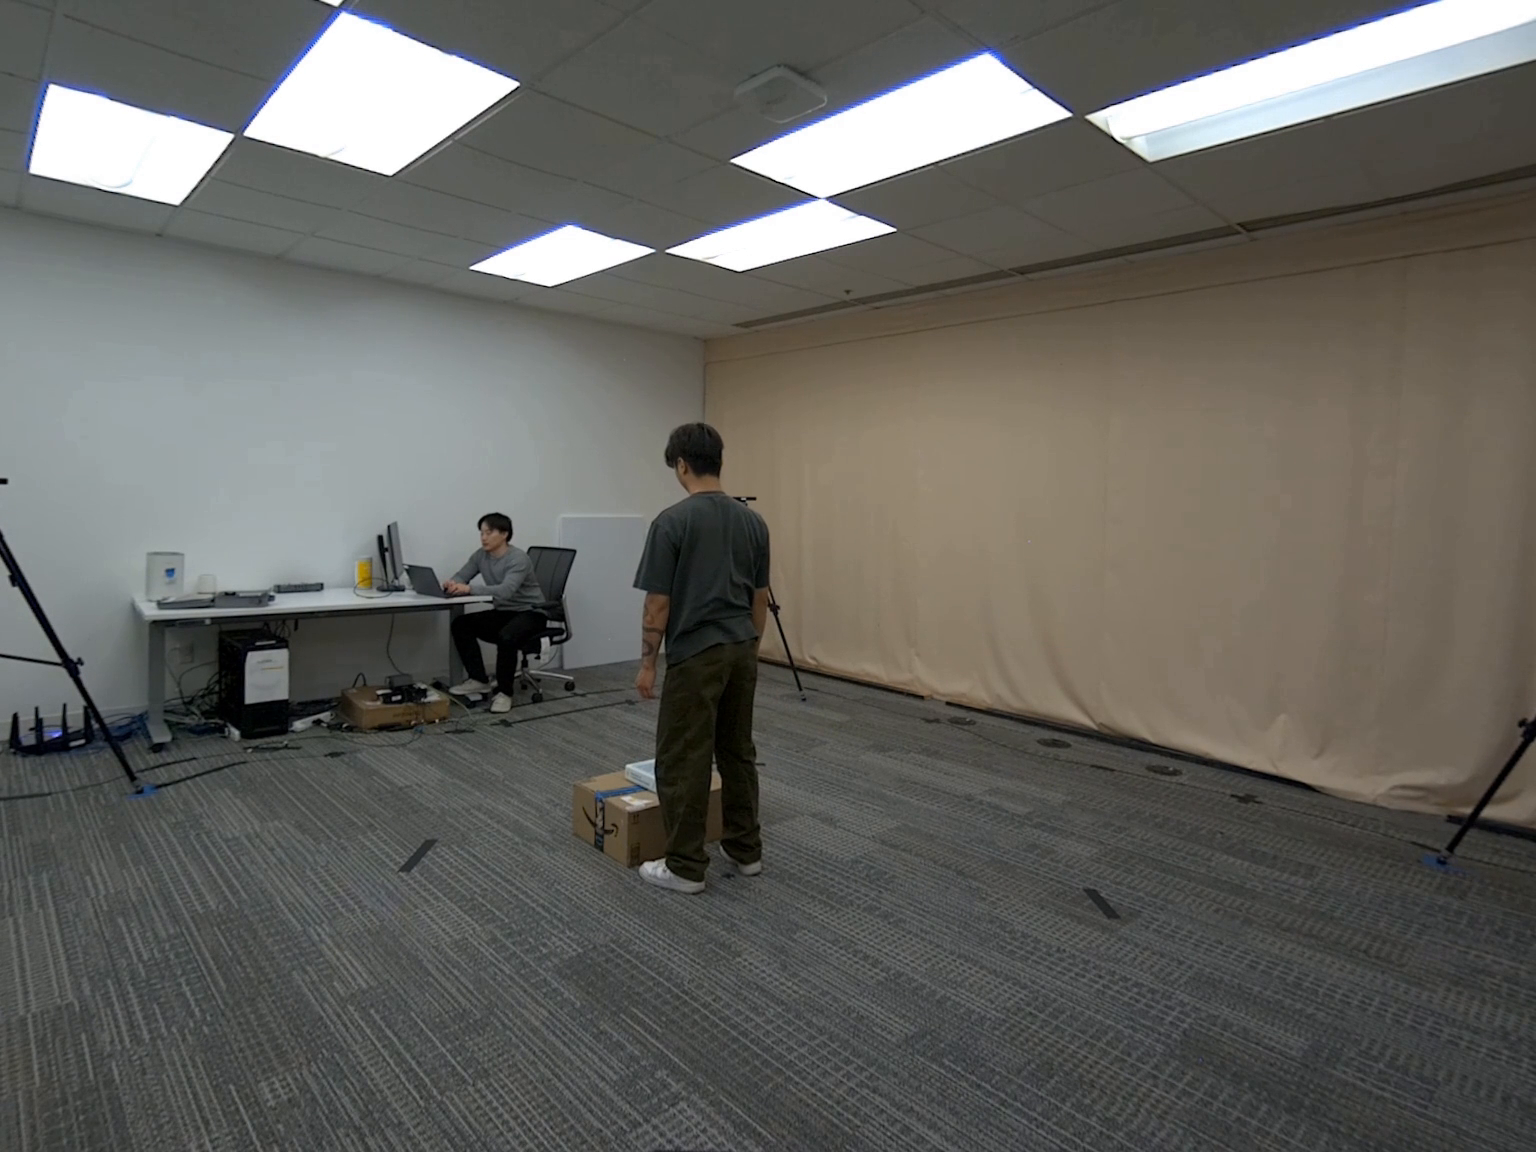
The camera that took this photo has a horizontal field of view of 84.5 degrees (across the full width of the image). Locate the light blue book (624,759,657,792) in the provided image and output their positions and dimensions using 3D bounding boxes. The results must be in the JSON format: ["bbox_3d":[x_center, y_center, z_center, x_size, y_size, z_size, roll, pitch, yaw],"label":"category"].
[{"bbox_3d":[-0.448,0.828,3.486,0.187,0.059,0.268,-2,6,-43],"label":"light blue book"}]
